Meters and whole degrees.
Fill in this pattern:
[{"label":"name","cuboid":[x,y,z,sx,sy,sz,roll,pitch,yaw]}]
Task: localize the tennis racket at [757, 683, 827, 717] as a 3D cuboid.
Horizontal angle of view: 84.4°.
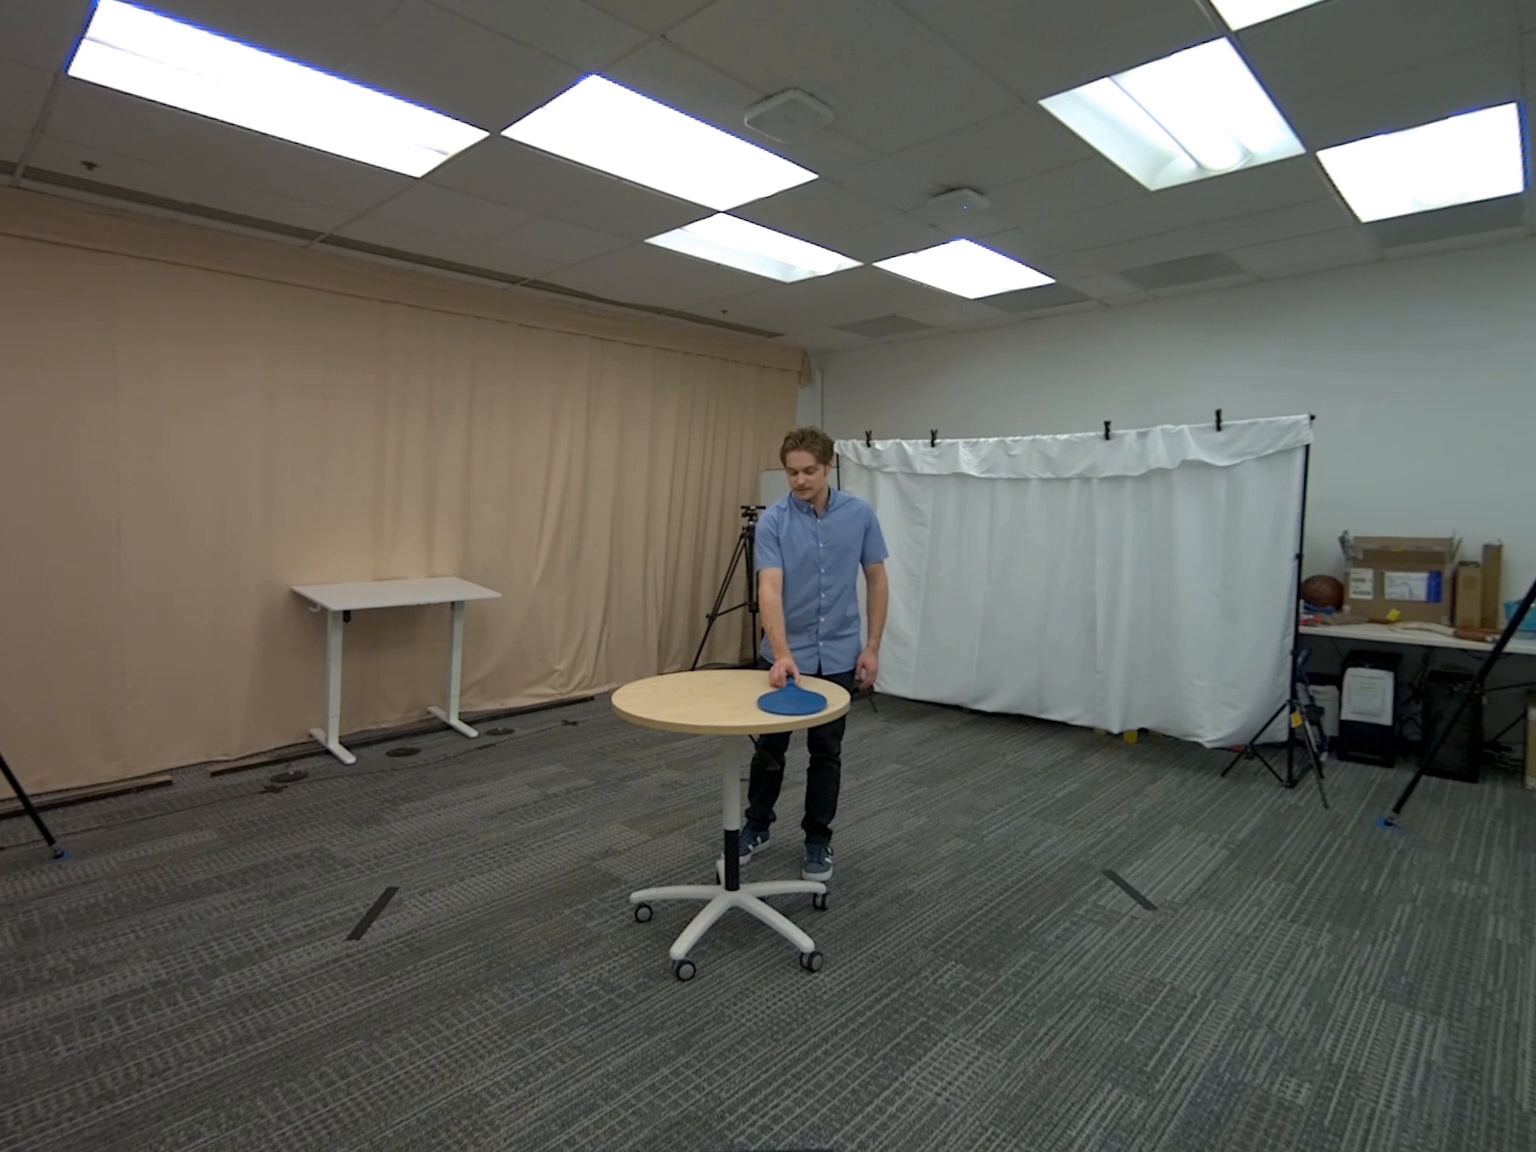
[{"label":"tennis racket","cuboid":[0.080,0.378,2.651,0.214,0.031,0.433,-2,7,1]}]
